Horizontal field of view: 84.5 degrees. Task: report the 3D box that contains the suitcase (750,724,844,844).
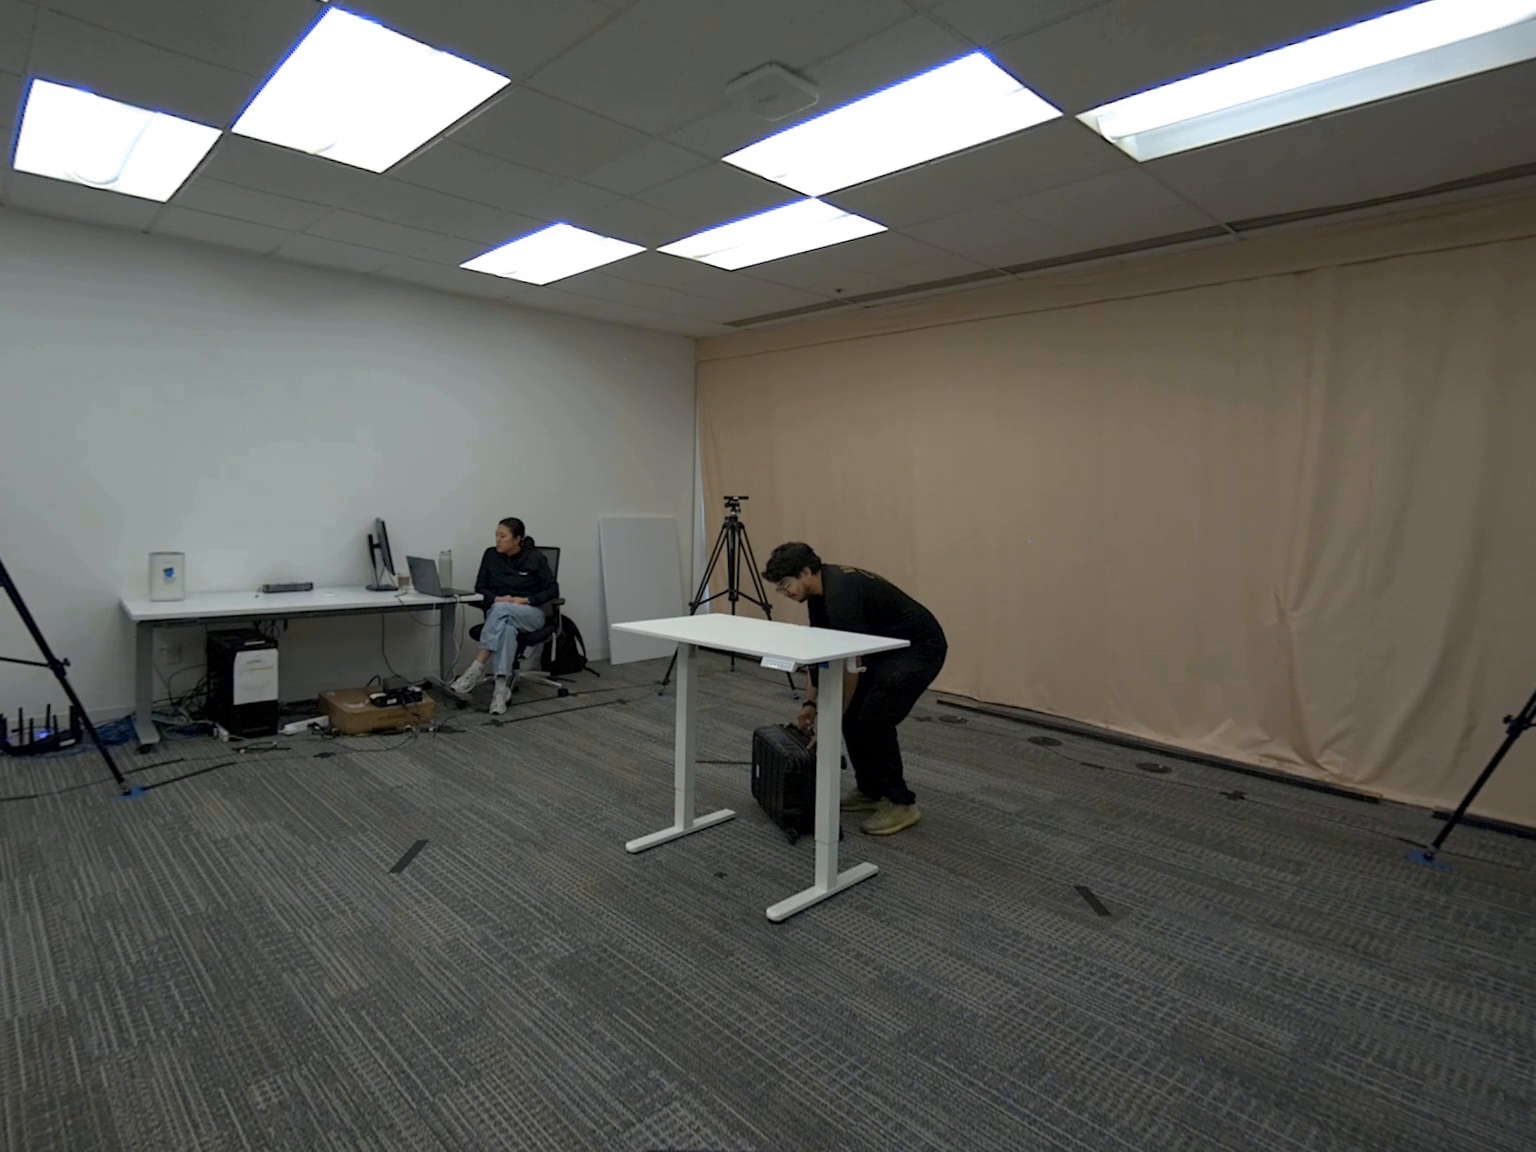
[{"bbox_3d":[0.104,0.864,3.658,0.245,0.374,0.559,-1,6,-19],"label":"suitcase"}]
